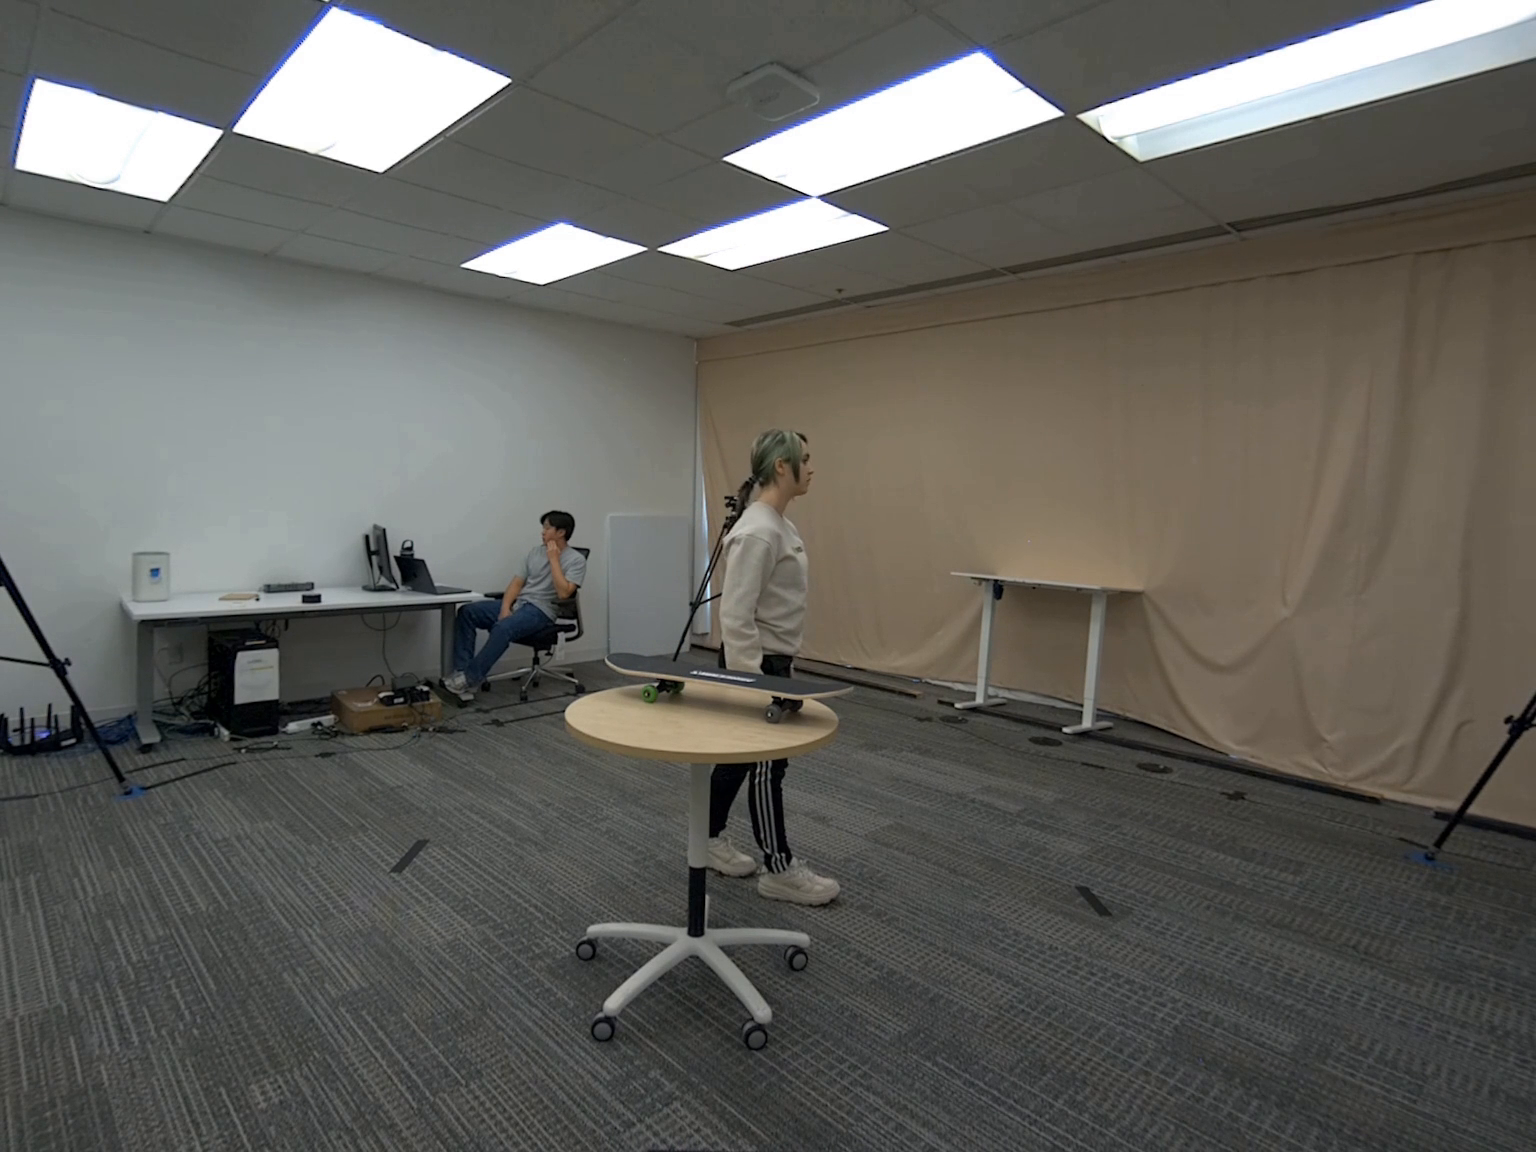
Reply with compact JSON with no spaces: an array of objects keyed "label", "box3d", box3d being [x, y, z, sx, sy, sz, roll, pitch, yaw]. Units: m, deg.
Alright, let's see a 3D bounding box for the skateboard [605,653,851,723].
[{"label":"skateboard","box3d":[-0.149,0.332,2.442,0.802,0.110,0.190,5,4,27]}]
